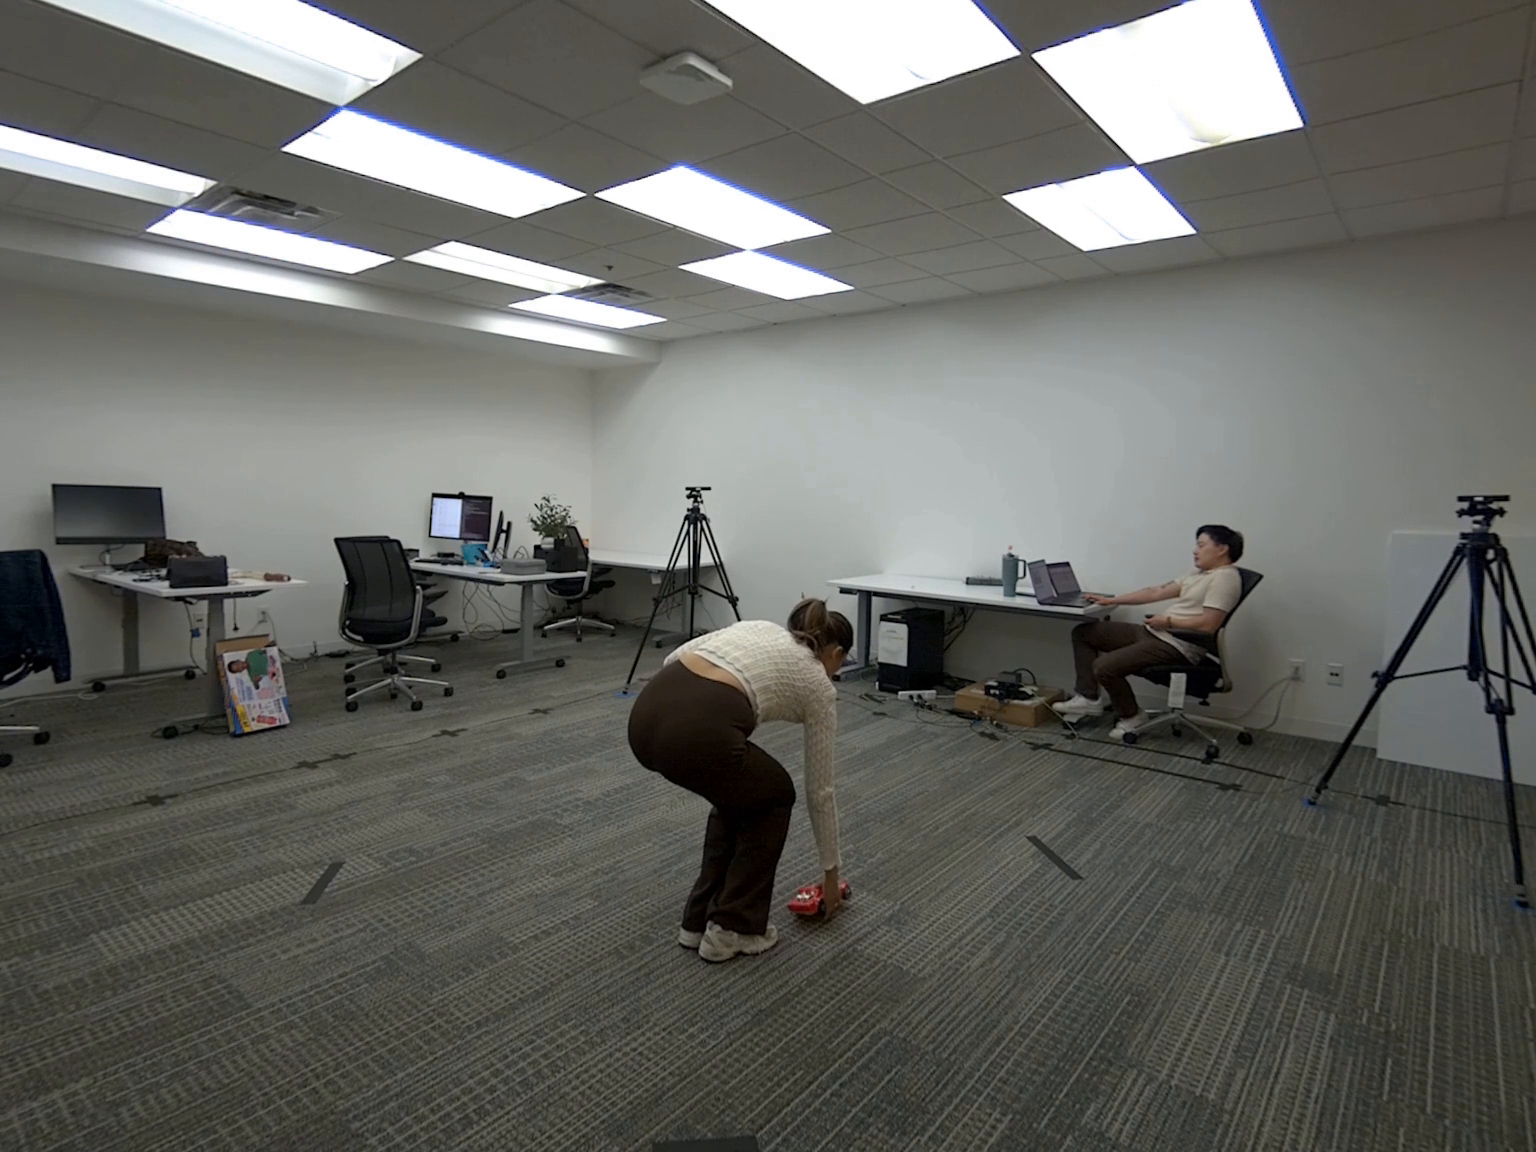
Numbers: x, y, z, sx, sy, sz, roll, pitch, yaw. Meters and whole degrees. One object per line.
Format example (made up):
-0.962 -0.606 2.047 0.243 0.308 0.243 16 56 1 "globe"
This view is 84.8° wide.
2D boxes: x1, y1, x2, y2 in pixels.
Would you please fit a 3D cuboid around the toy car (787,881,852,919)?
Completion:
0.159 1.060 2.803 0.133 0.084 0.245 -14 -17 40 "toy car"
